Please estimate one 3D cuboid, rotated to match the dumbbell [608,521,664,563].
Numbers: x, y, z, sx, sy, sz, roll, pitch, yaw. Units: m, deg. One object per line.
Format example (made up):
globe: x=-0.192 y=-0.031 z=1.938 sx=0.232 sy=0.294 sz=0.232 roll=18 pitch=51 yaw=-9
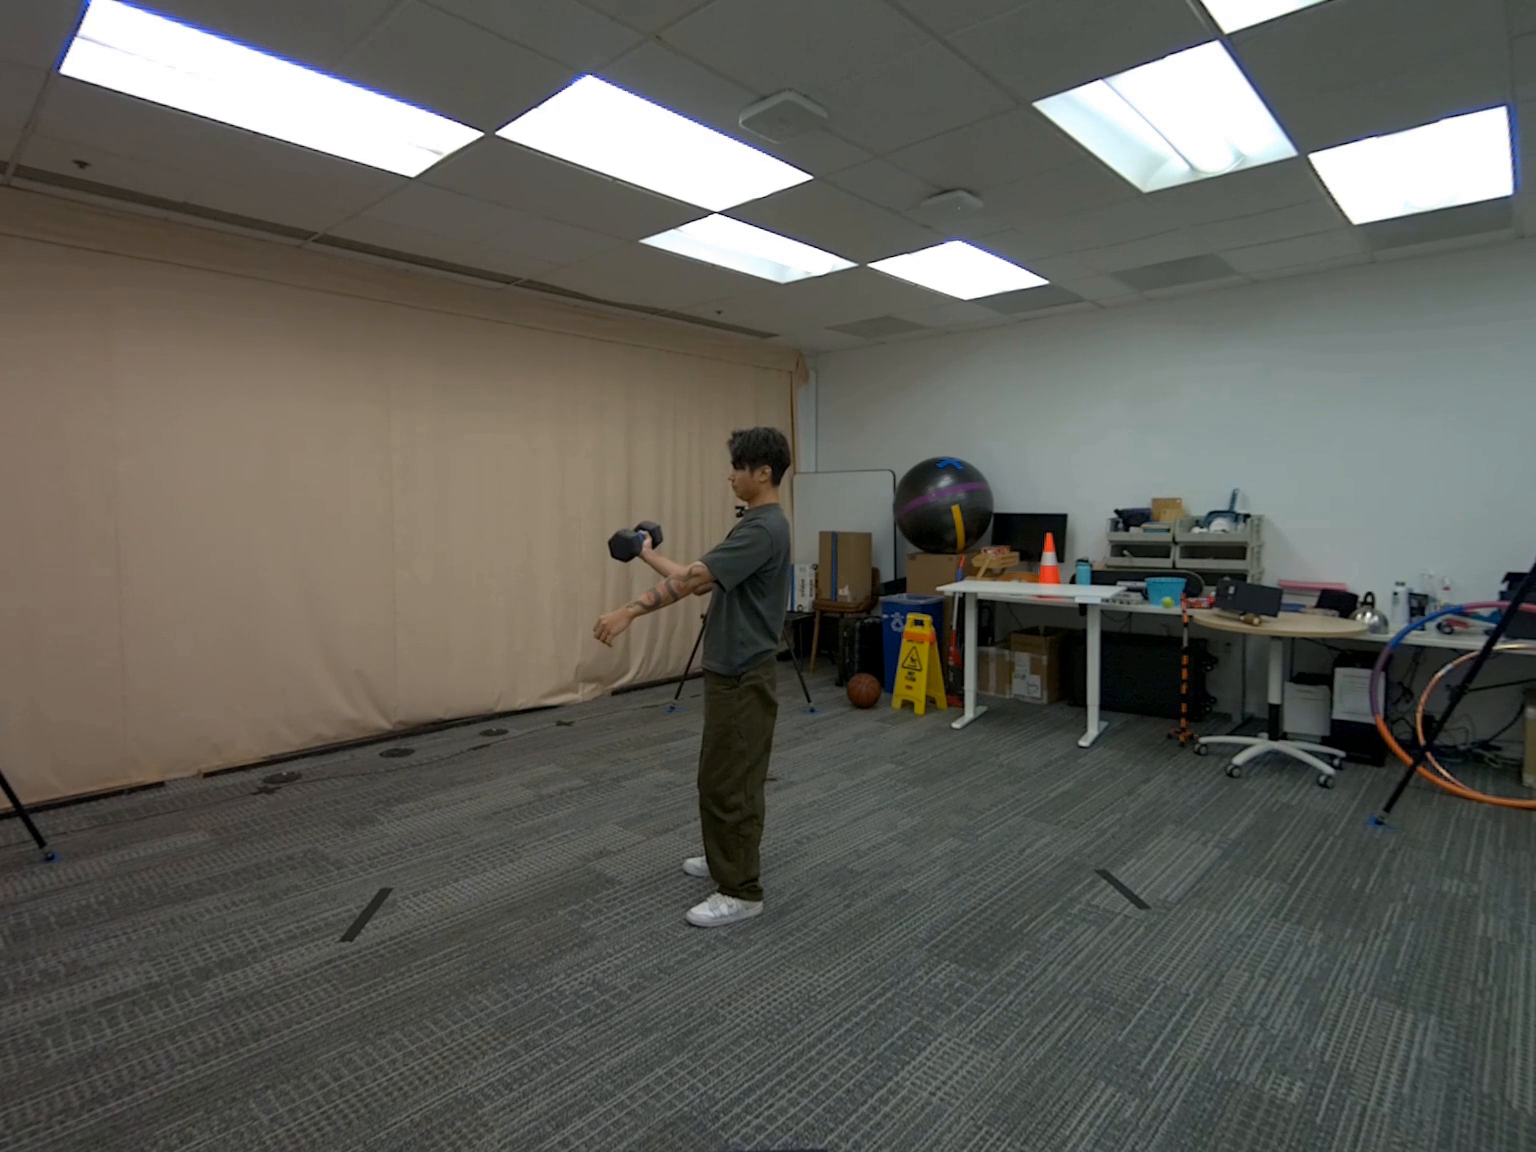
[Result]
dumbbell: x=-0.497 y=-0.138 z=3.228 sx=0.110 sy=0.122 sz=0.290 roll=-11 pitch=8 yaw=16
